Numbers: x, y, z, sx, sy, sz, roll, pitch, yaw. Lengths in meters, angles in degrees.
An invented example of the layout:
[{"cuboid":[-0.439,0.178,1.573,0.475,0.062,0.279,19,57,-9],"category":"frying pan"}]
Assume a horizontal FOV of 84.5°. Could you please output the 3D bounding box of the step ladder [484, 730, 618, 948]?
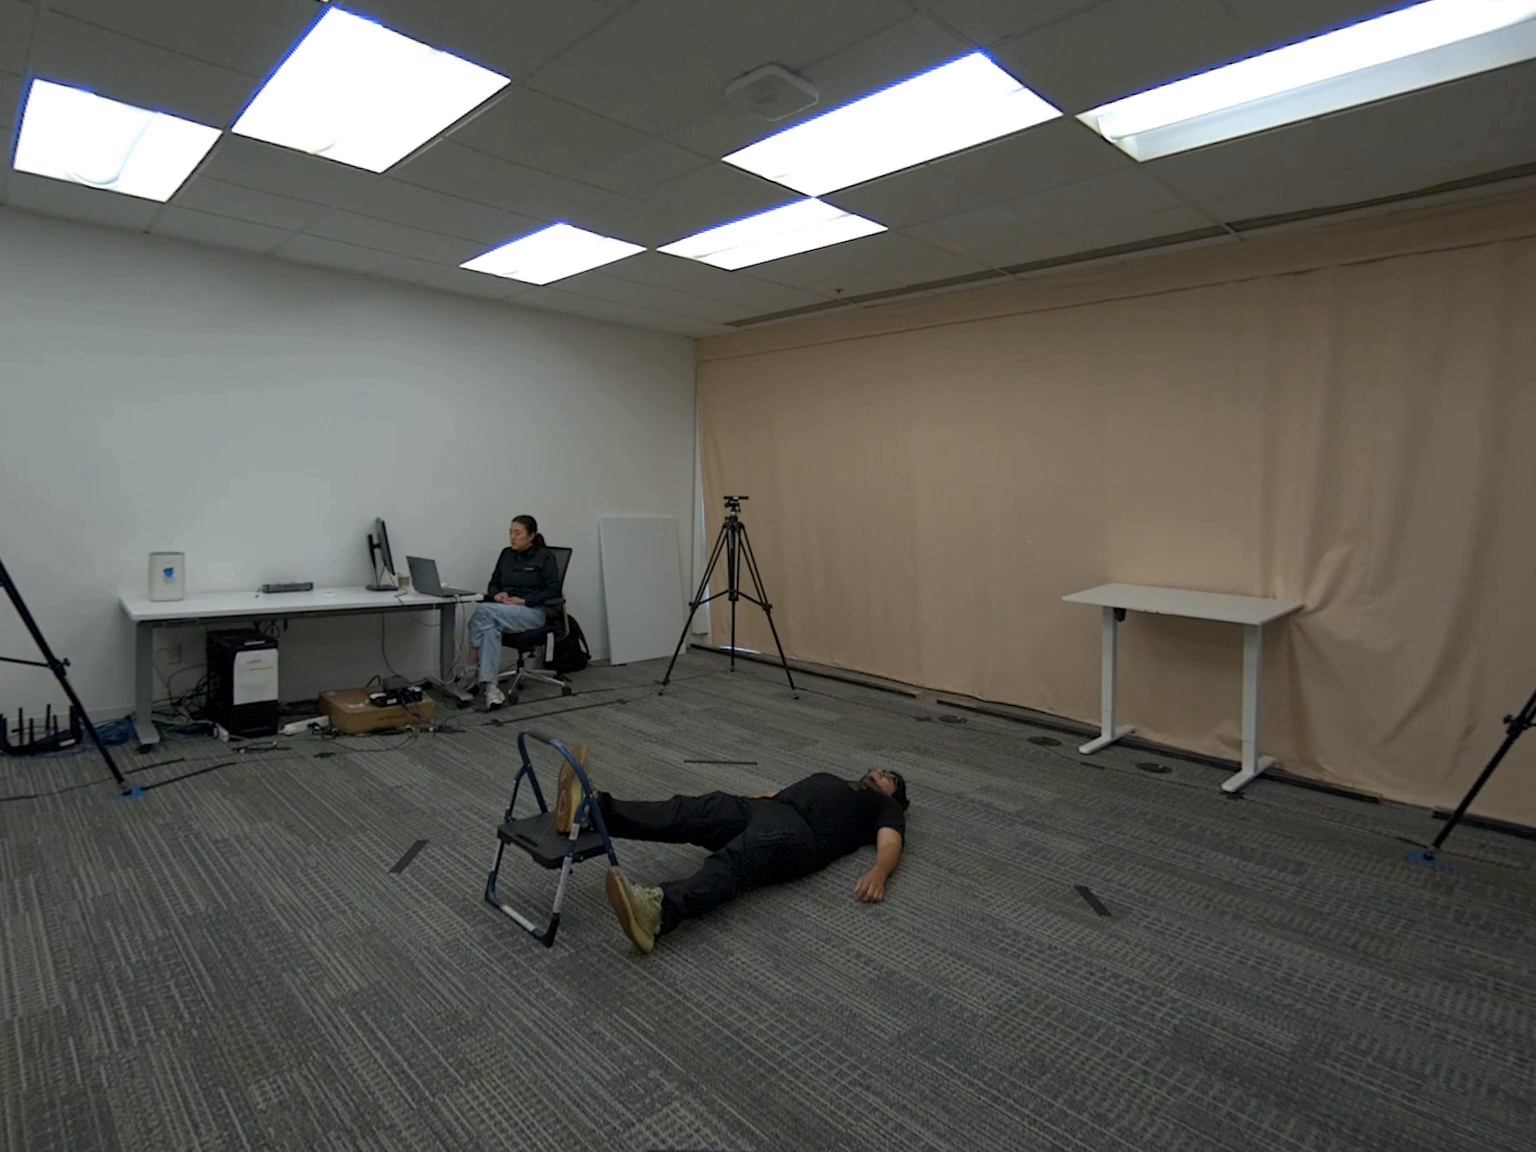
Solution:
[{"cuboid":[-0.703,0.816,2.821,0.441,0.604,0.341,4,5,45],"category":"step ladder"}]
